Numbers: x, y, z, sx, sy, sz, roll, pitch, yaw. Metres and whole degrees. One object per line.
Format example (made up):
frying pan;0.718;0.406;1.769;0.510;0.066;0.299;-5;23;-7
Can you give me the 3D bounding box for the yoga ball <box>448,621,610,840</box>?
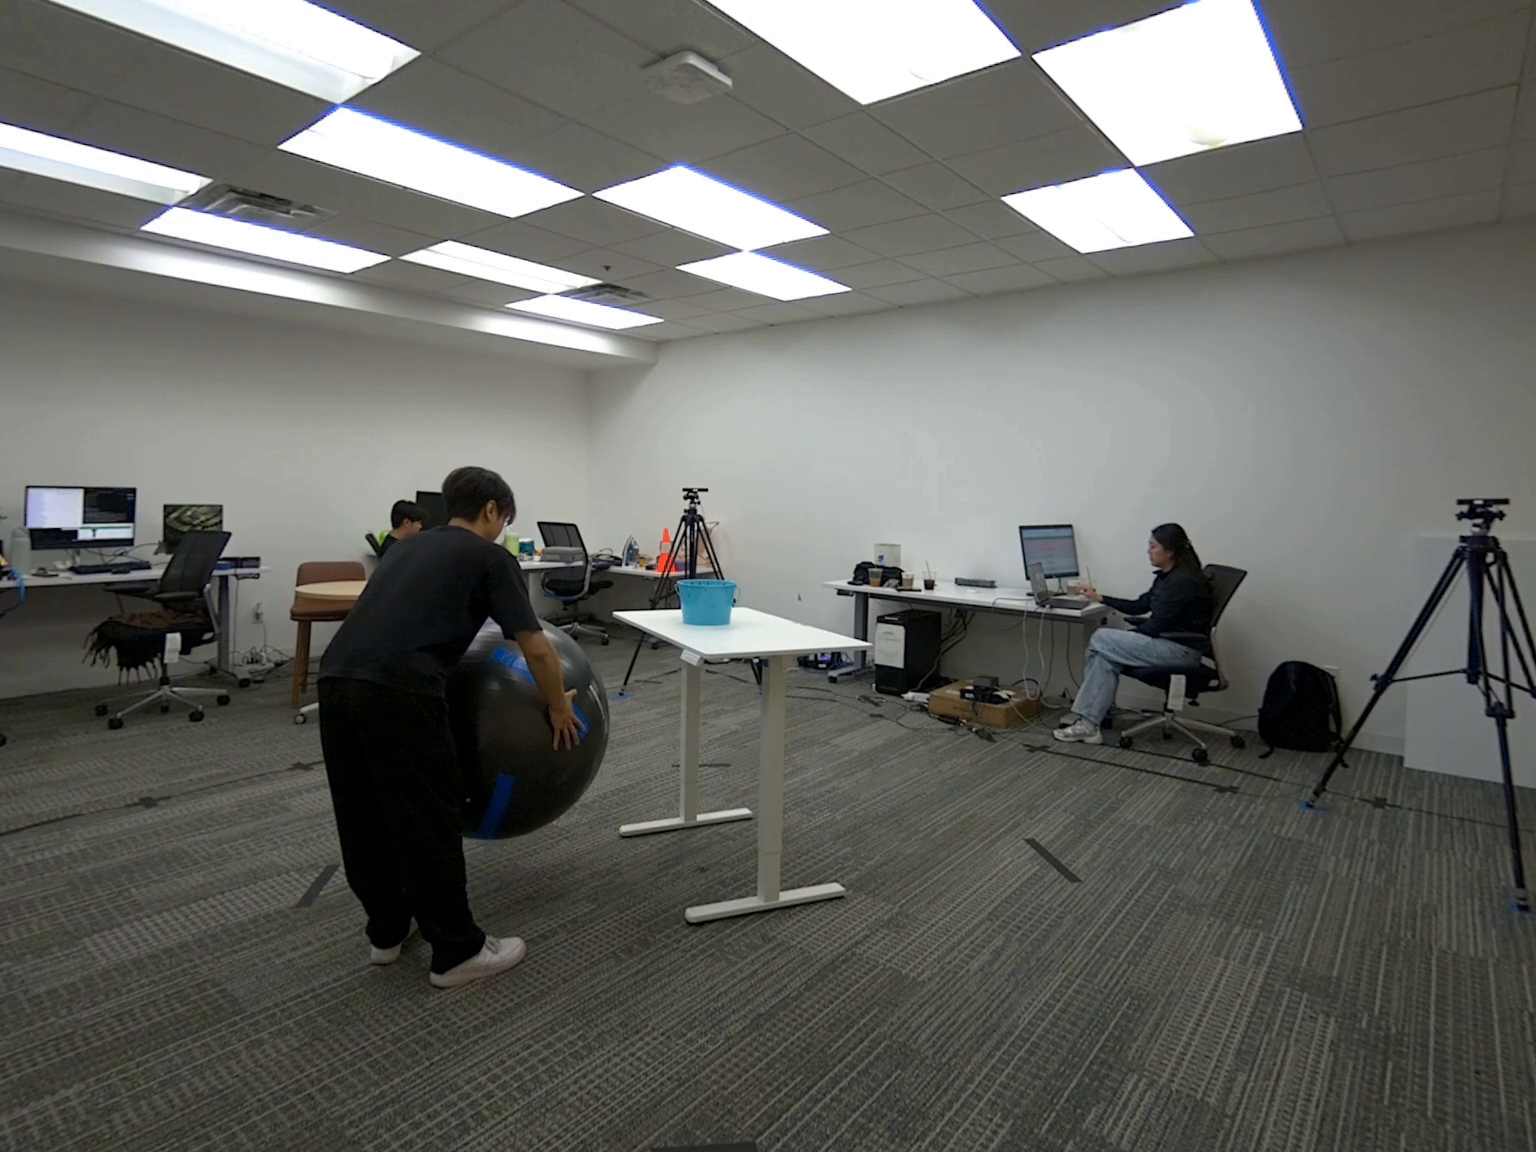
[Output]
yoga ball;-0.940;0.506;2.919;0.757;0.756;0.762;1;4;-2
